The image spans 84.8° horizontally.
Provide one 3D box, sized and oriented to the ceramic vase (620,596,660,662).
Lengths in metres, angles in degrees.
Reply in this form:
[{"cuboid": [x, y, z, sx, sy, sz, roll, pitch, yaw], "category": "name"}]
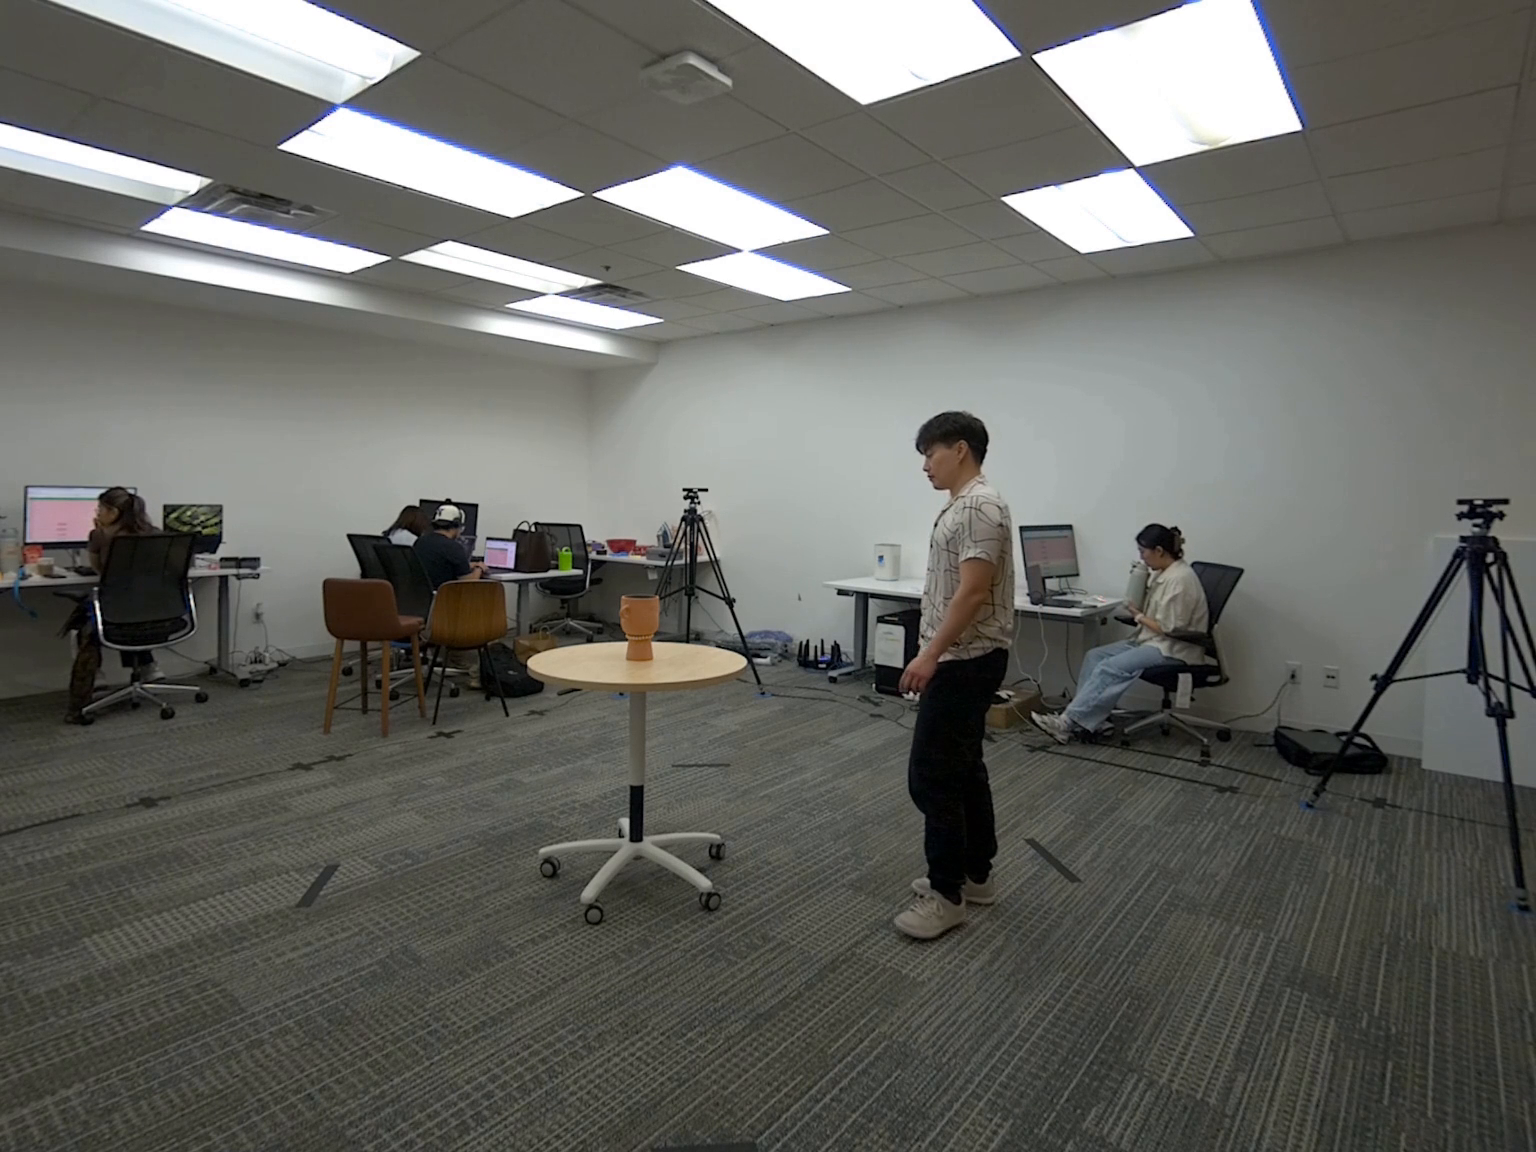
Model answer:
[{"cuboid": [-0.464, 0.183, 3.016, 0.156, 0.219, 0.137, -1, 4, -15], "category": "ceramic vase"}]
